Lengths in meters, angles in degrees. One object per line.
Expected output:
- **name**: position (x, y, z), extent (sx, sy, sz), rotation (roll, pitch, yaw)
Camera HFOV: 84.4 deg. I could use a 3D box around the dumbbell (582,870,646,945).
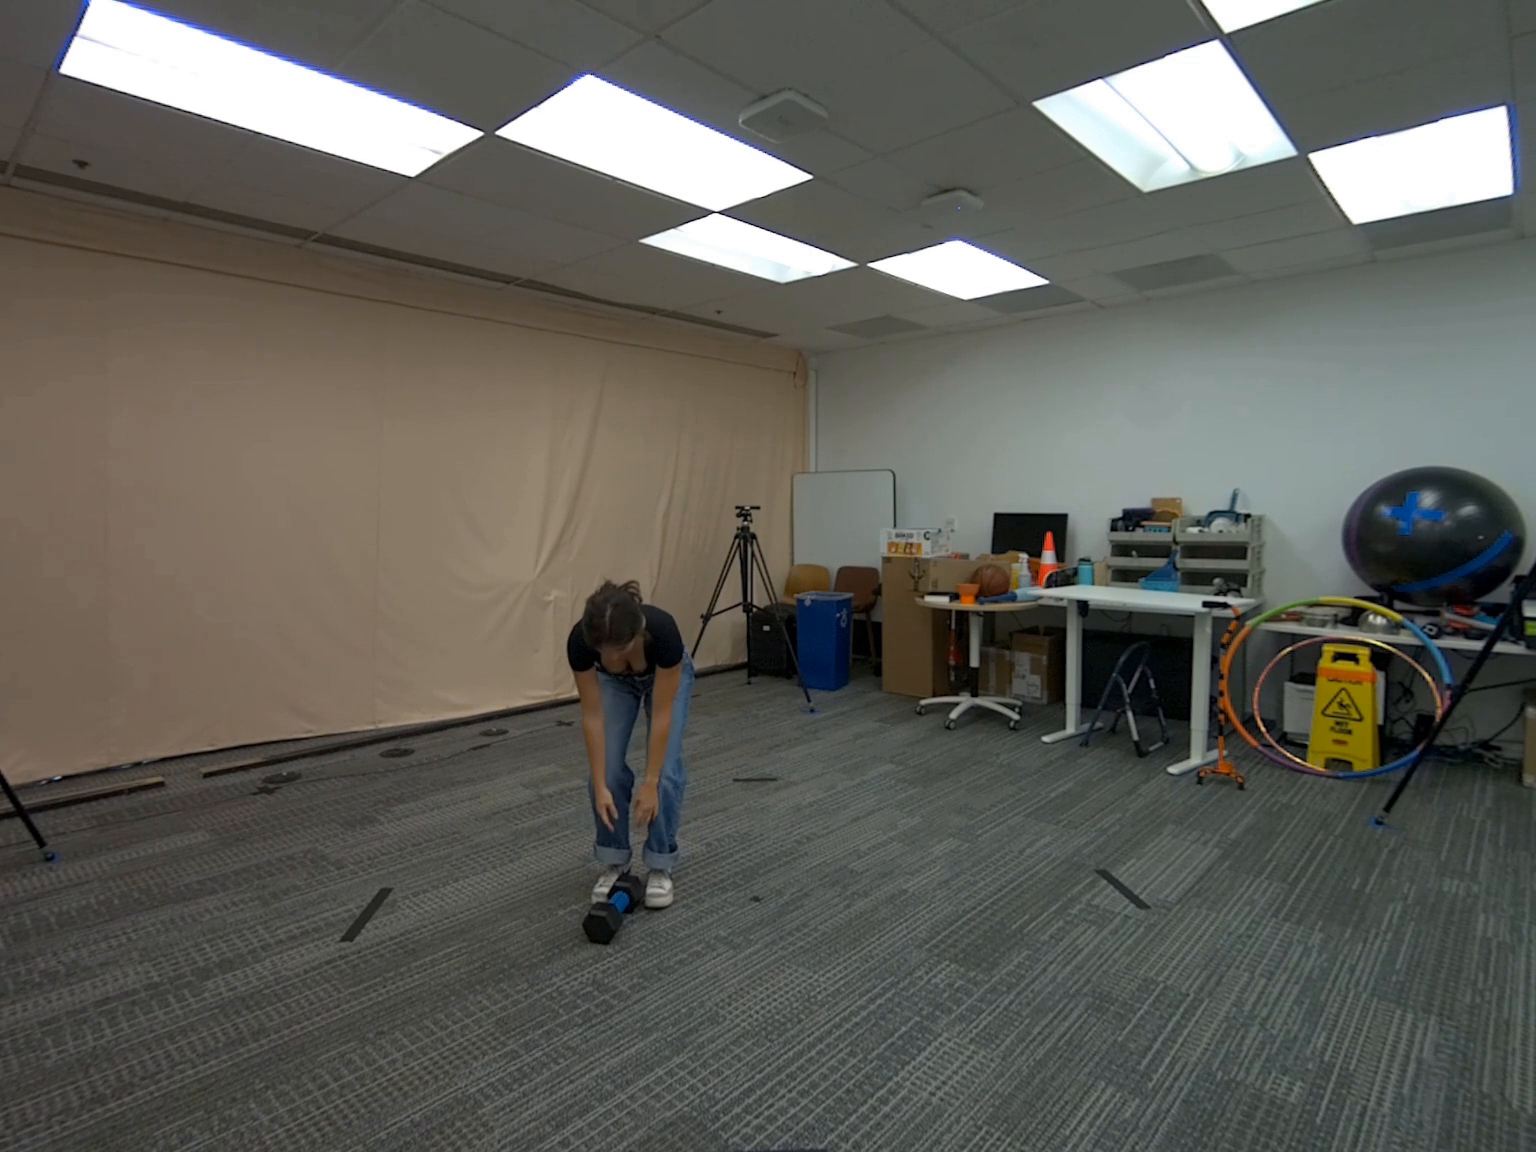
- **dumbbell**: position (-0.511, 1.110, 2.806), extent (0.109, 0.123, 0.290), rotation (-29, -2, 13)
